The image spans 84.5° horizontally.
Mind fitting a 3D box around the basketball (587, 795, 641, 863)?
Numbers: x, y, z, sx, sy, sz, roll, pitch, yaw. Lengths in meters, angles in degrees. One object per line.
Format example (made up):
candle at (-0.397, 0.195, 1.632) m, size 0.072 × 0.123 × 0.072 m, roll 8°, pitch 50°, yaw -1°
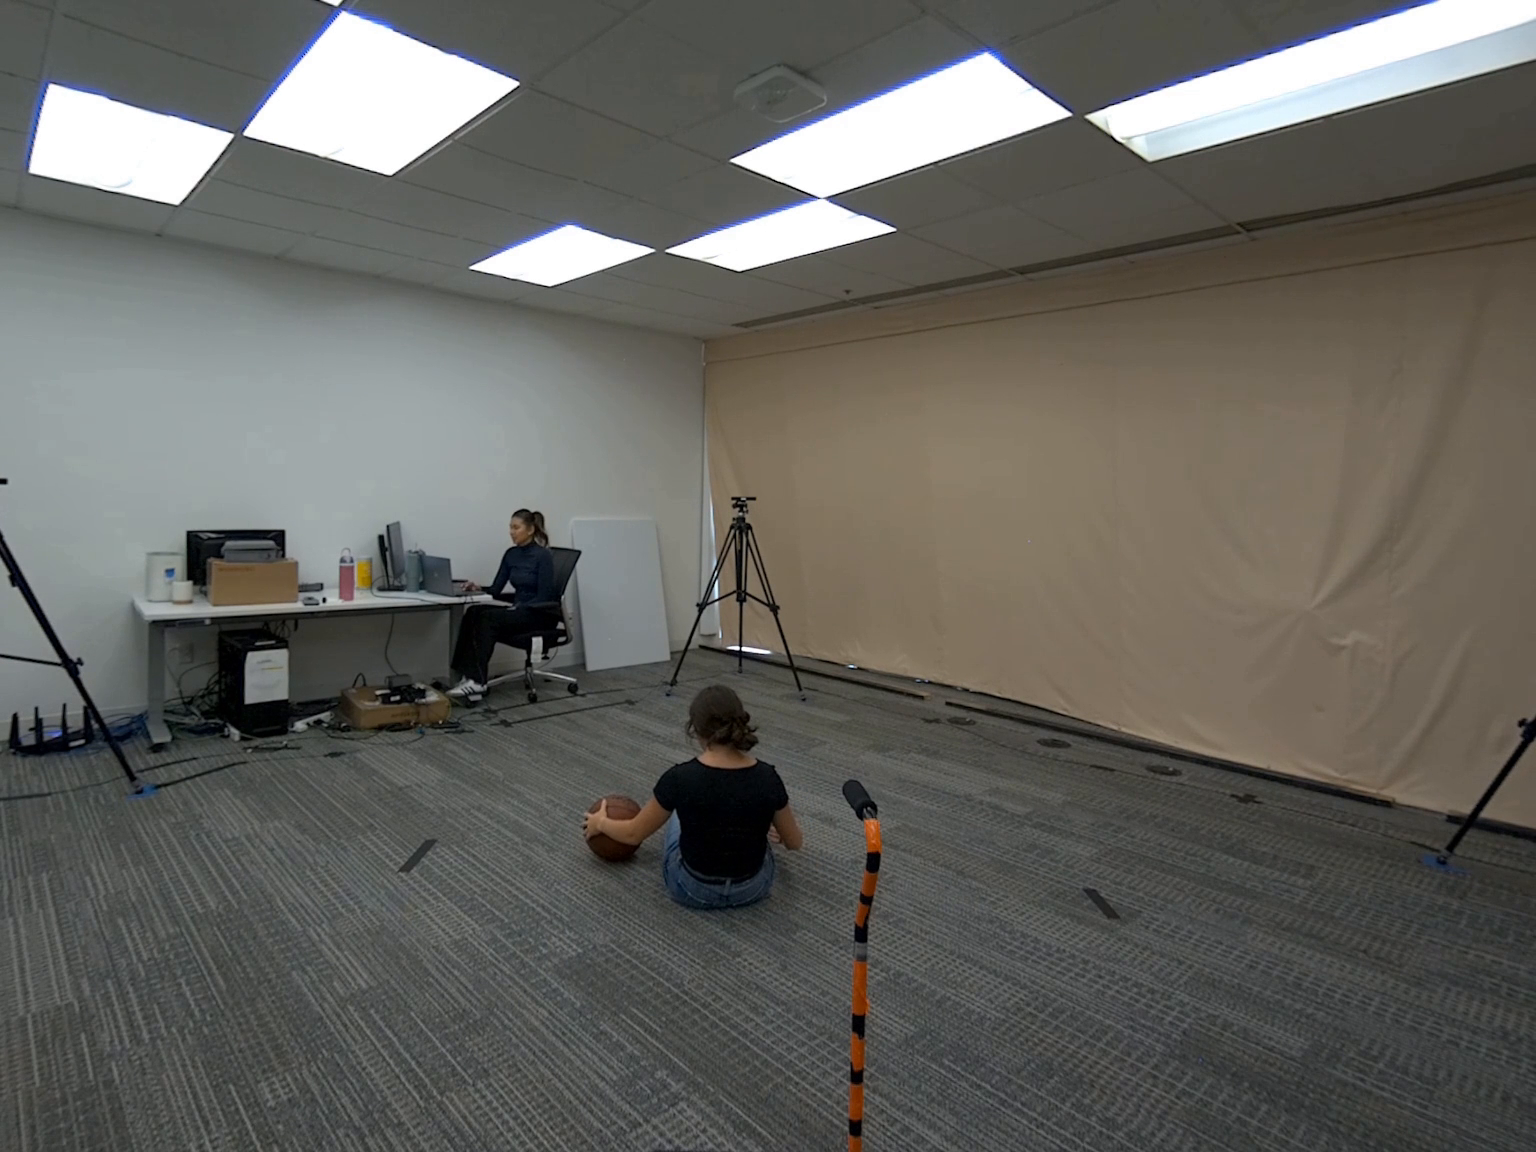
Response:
basketball at (-0.589, 0.962, 3.237) m, size 0.236 × 0.235 × 0.237 m, roll 1°, pitch 4°, yaw -1°
